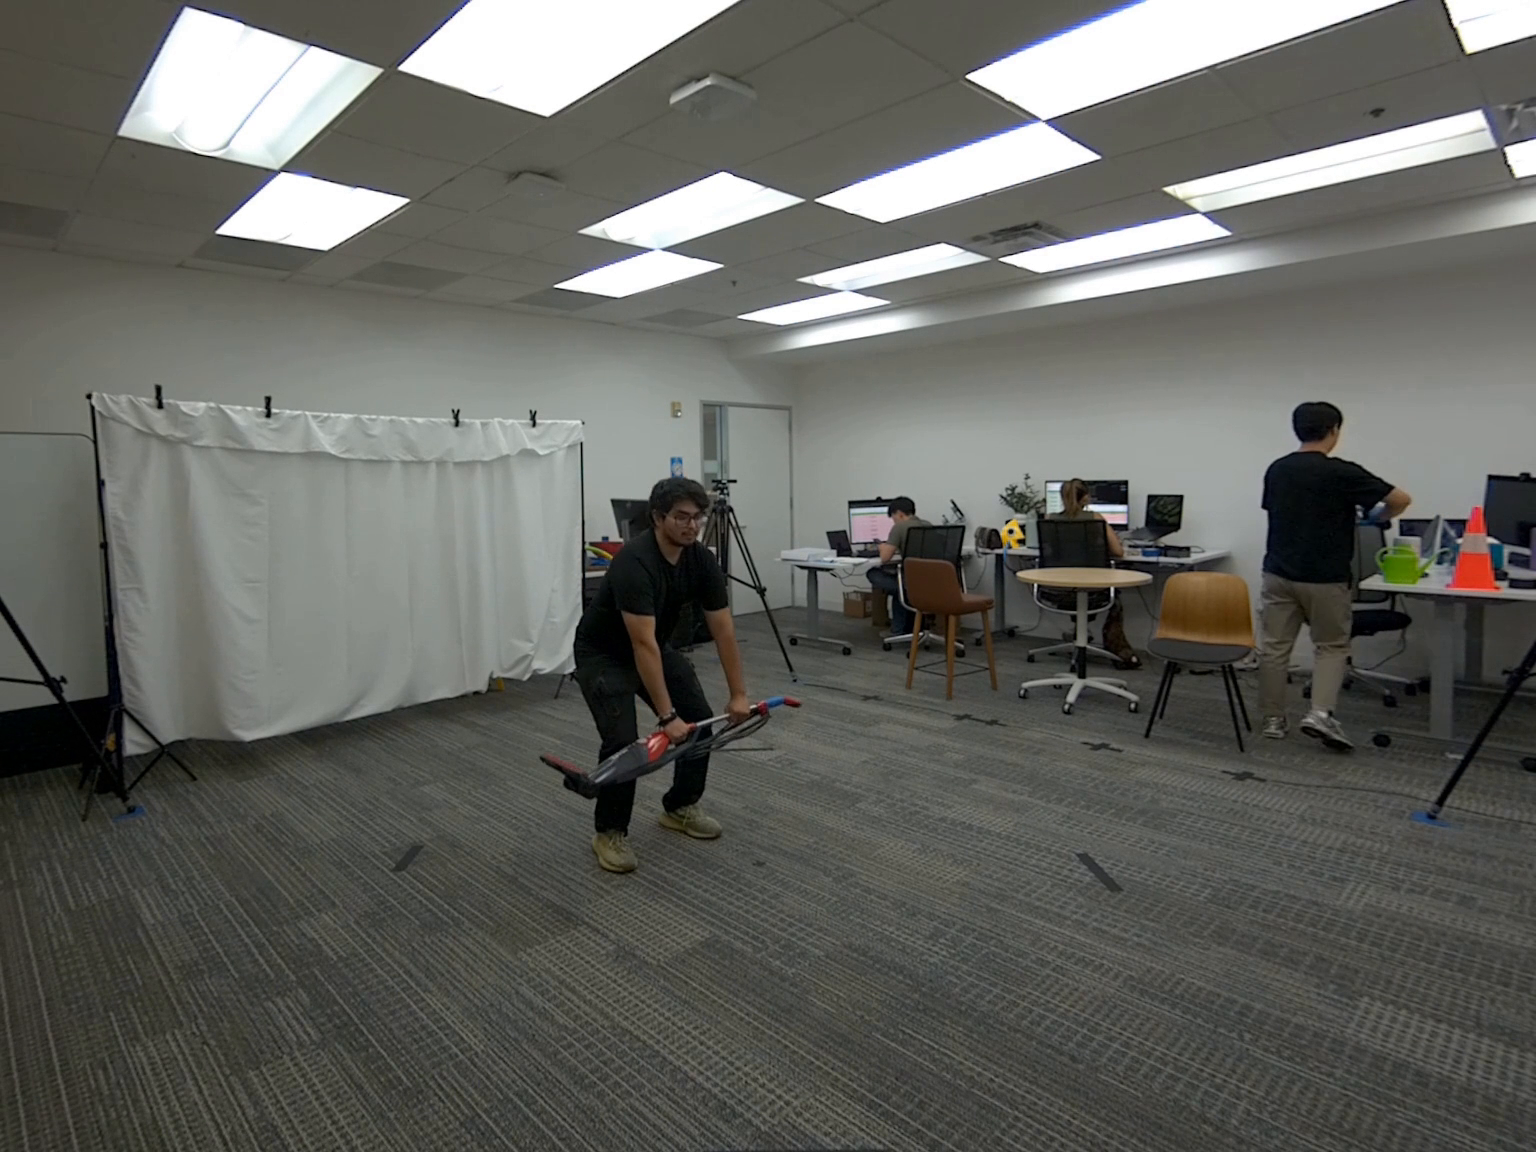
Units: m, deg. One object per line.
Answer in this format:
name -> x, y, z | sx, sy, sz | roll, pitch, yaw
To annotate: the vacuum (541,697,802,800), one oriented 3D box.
vacuum -> -0.240, 0.585, 3.045 | 1.023, 0.143, 0.260 | -9, 8, -39
